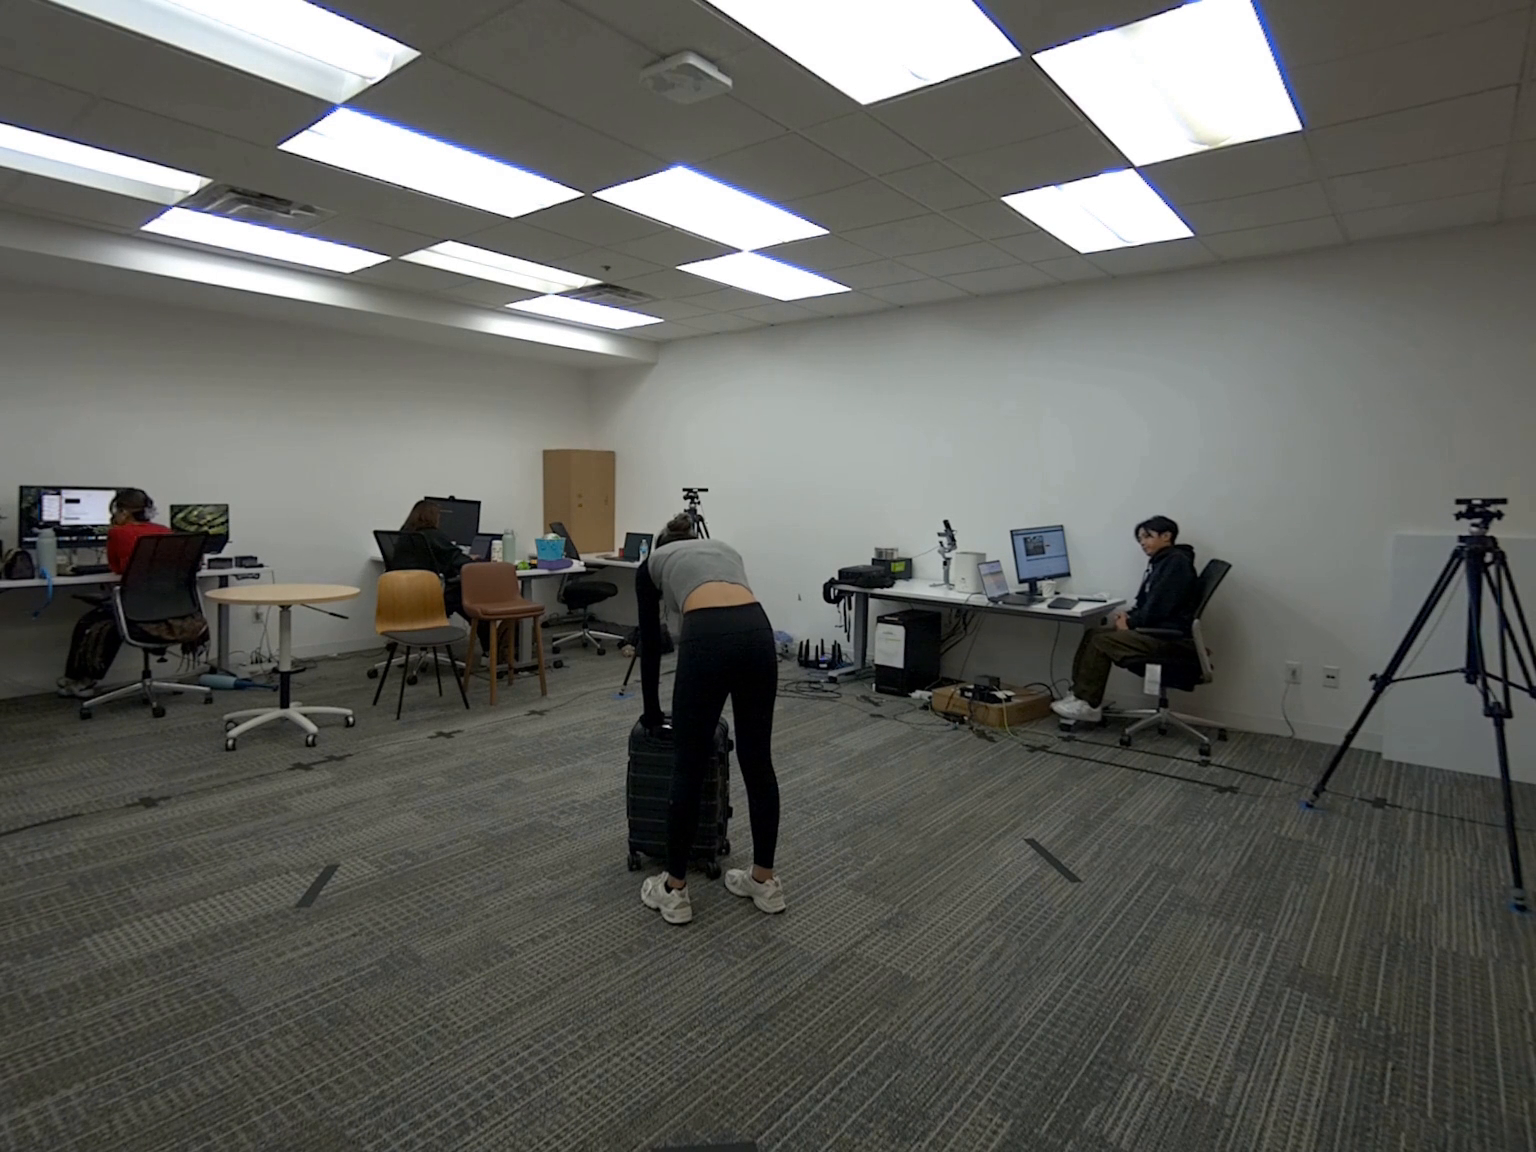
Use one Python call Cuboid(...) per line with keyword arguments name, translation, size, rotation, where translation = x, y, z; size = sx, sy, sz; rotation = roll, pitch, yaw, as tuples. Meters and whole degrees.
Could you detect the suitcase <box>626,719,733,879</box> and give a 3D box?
Cuboid(name="suitcase", translation=(-0.343, 0.786, 3.185), size=(0.380, 0.549, 0.245), rotation=(1, 2, 12))
